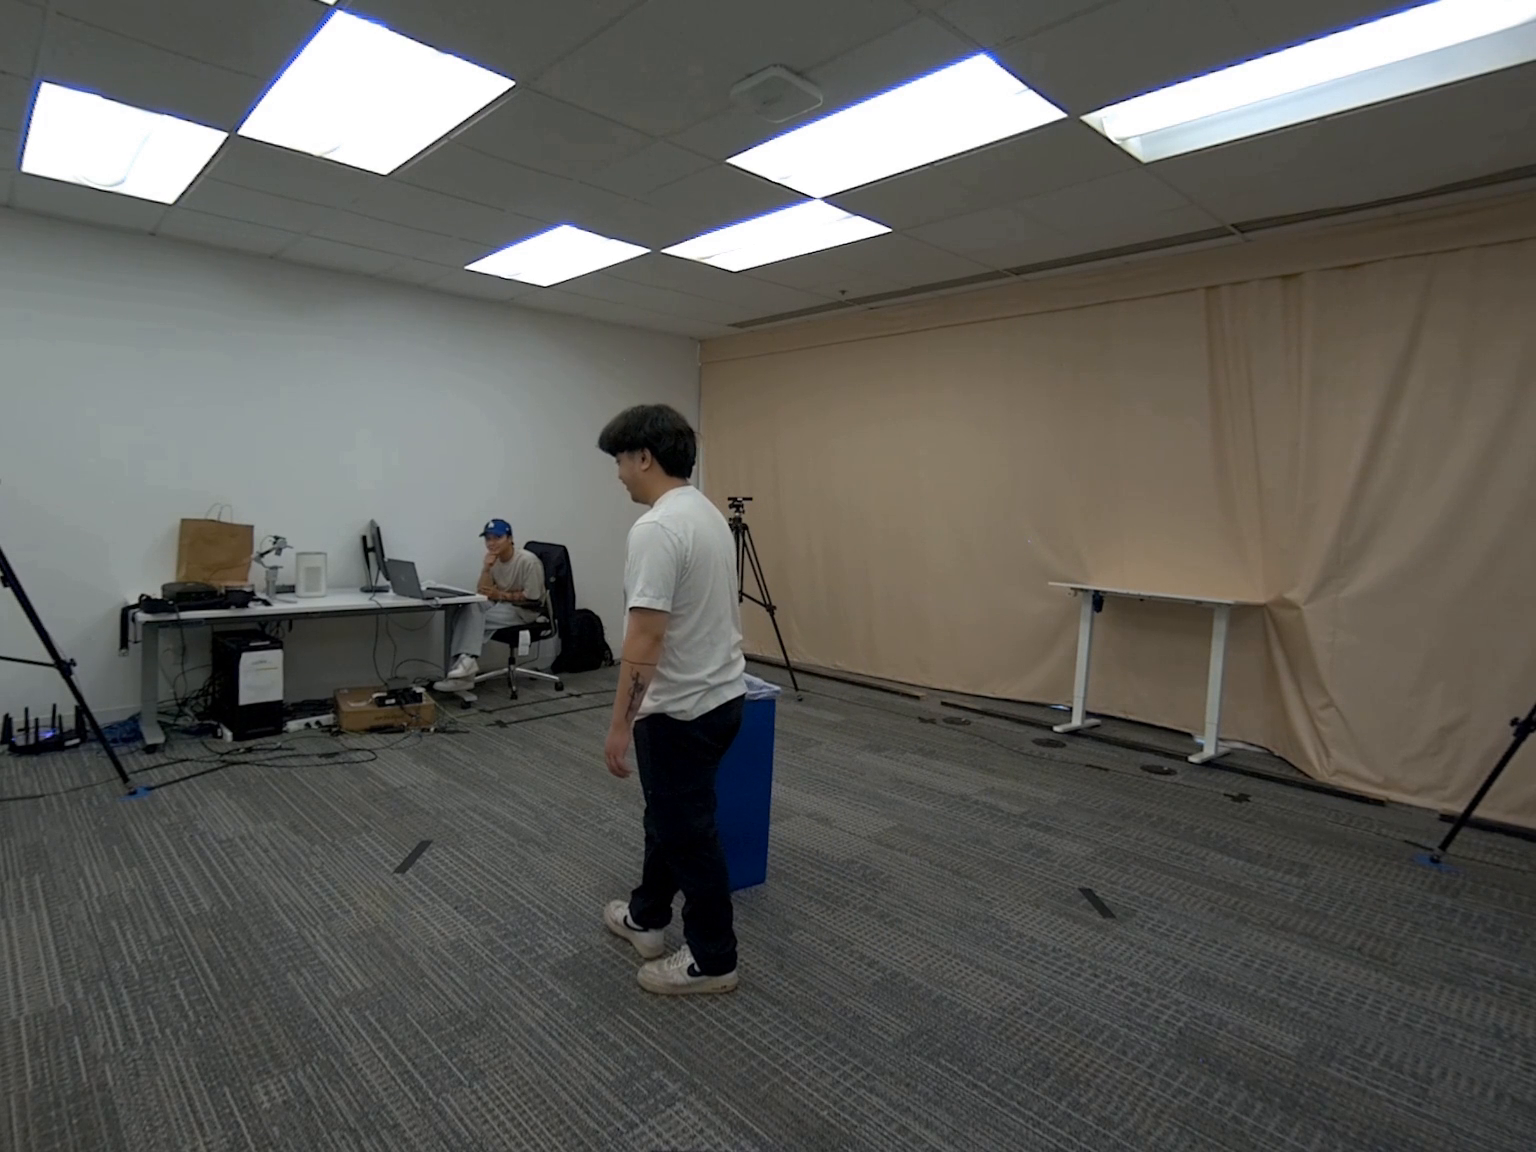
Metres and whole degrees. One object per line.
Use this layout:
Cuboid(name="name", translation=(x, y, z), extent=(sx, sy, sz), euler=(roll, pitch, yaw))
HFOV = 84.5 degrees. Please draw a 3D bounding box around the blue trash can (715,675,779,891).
Cuboid(name="blue trash can", translation=(-0.213, 0.750, 3.094), extent=(0.370, 0.712, 0.383), euler=(-1, 4, -34))
